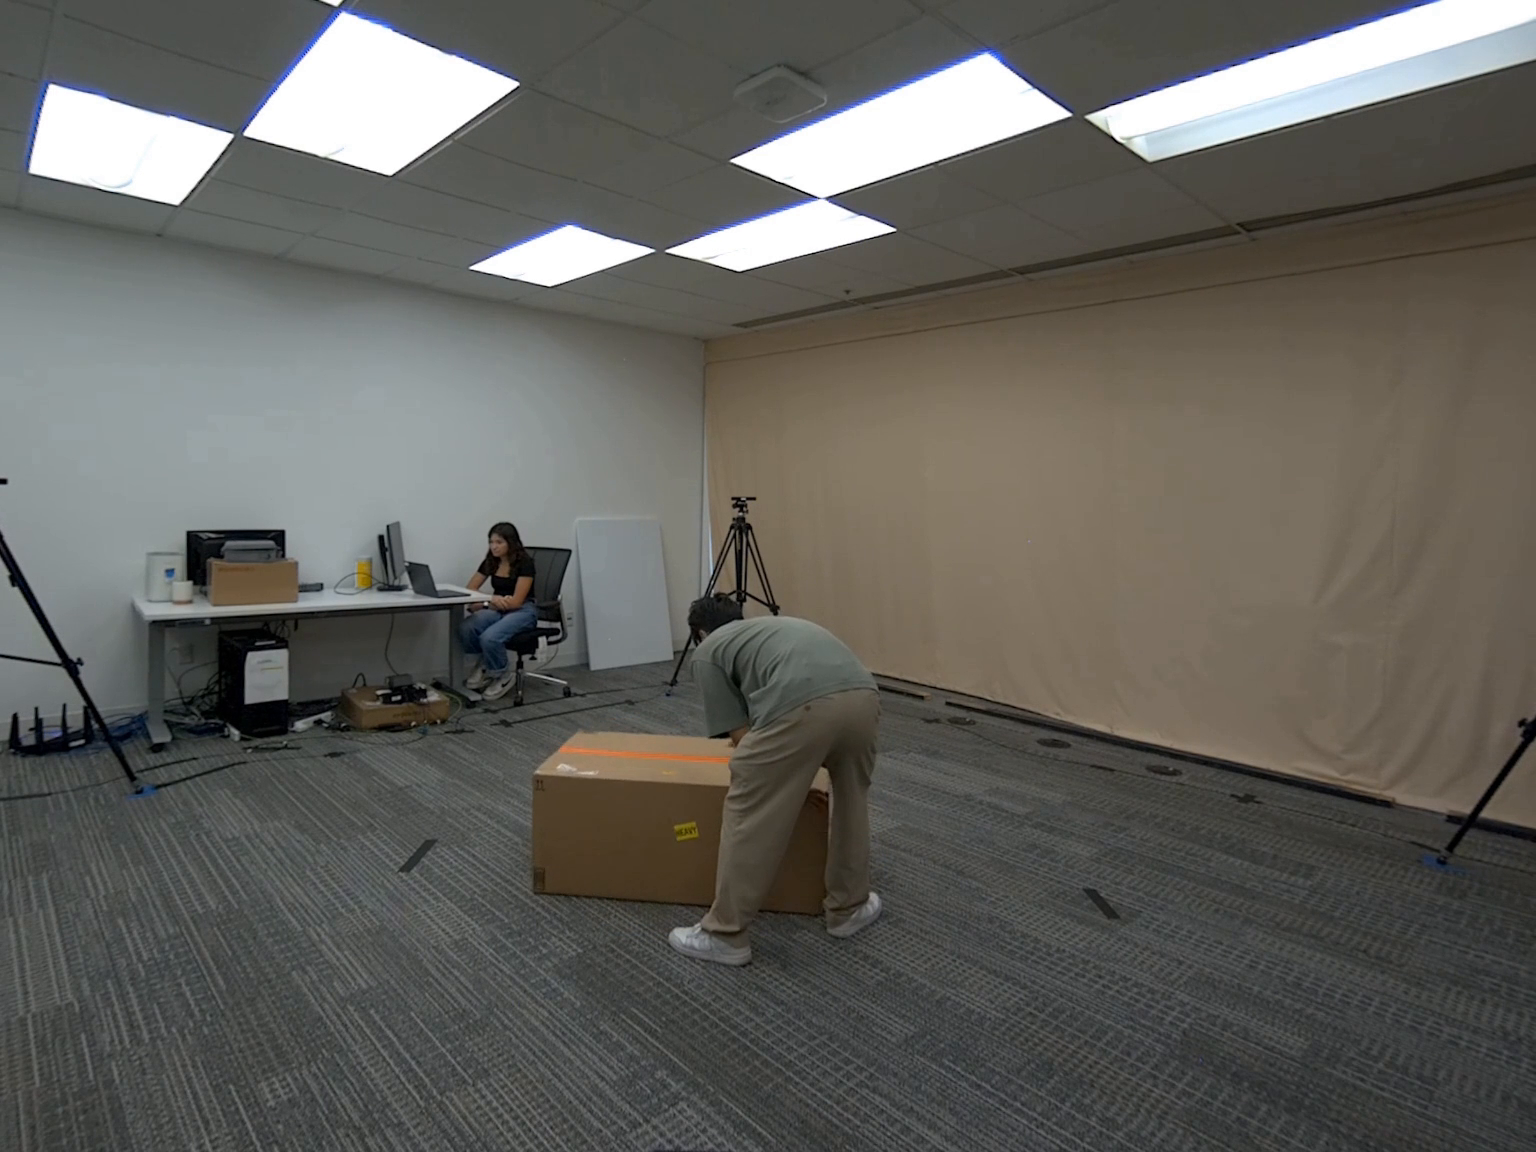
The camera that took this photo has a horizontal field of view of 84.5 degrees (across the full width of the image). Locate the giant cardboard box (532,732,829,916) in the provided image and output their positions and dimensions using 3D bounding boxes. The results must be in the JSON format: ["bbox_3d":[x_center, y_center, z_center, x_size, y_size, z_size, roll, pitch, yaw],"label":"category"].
[{"bbox_3d":[-0.299,0.881,3.150,1.031,0.425,0.576,2,4,5],"label":"giant cardboard box"}]
